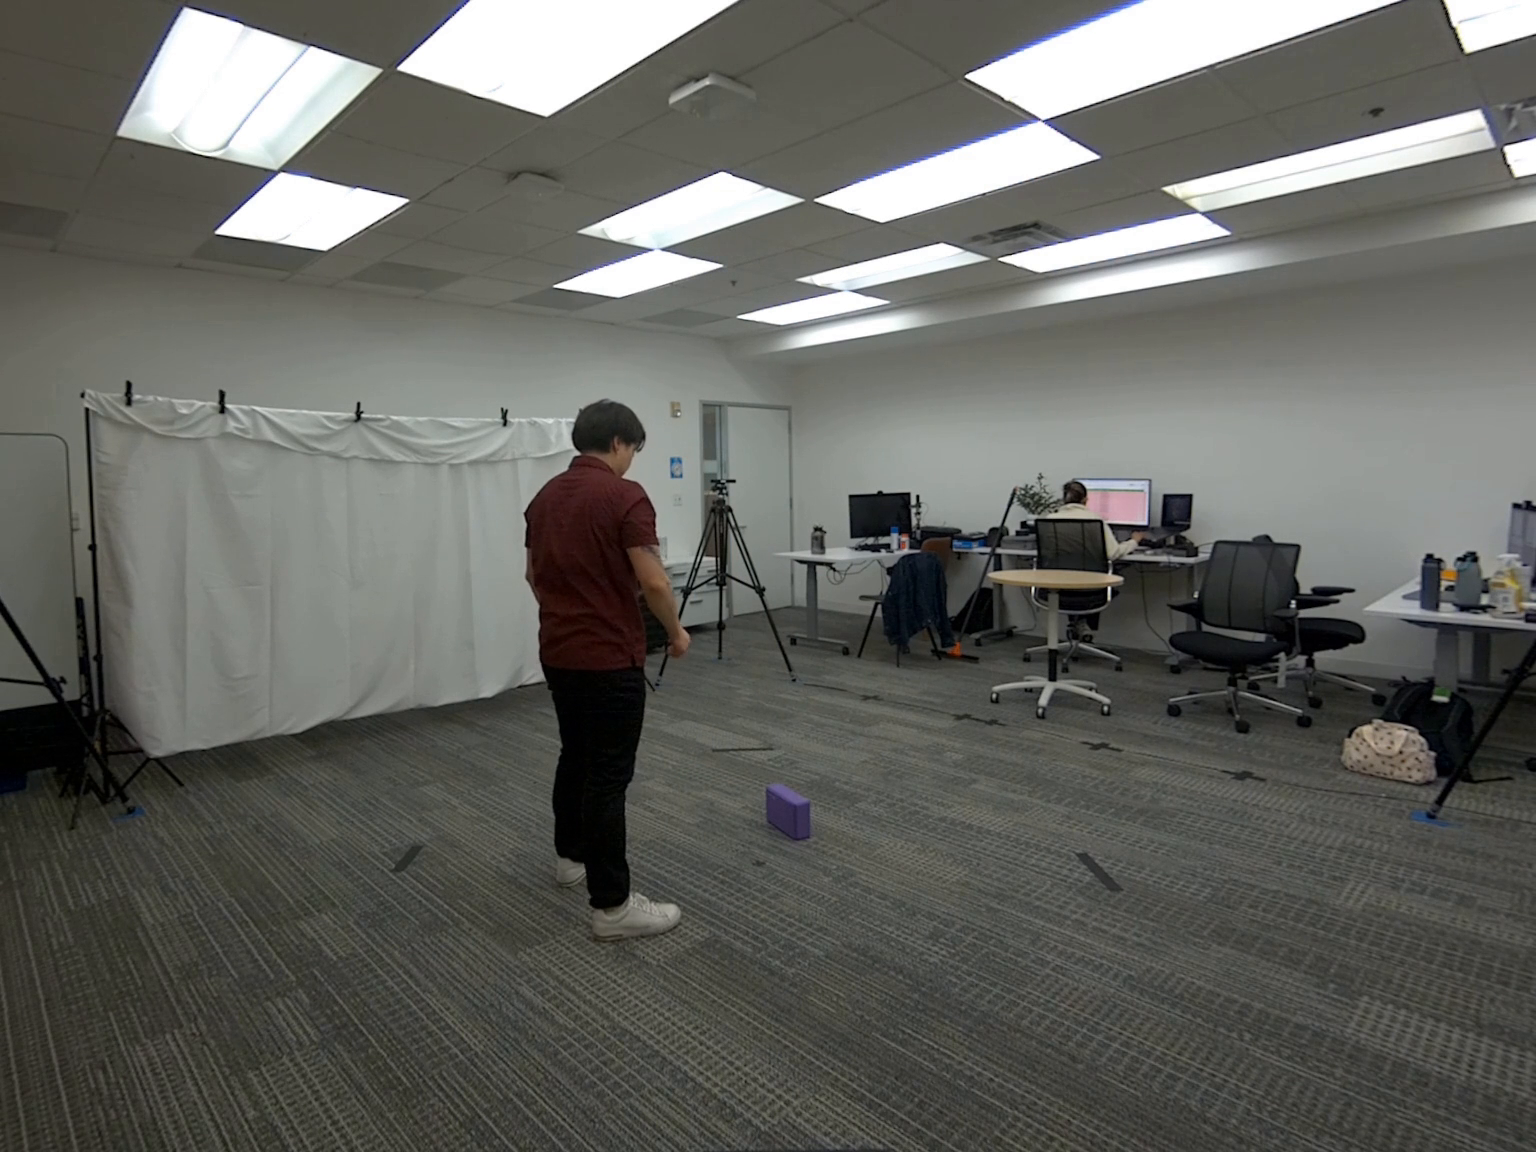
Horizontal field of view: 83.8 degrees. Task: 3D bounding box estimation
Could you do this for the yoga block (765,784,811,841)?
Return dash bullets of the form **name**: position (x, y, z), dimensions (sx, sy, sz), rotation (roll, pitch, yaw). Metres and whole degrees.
- **yoga block**: position (0.080, 0.935, 3.405), dimensions (0.075, 0.148, 0.235), rotation (-3, 6, -29)
